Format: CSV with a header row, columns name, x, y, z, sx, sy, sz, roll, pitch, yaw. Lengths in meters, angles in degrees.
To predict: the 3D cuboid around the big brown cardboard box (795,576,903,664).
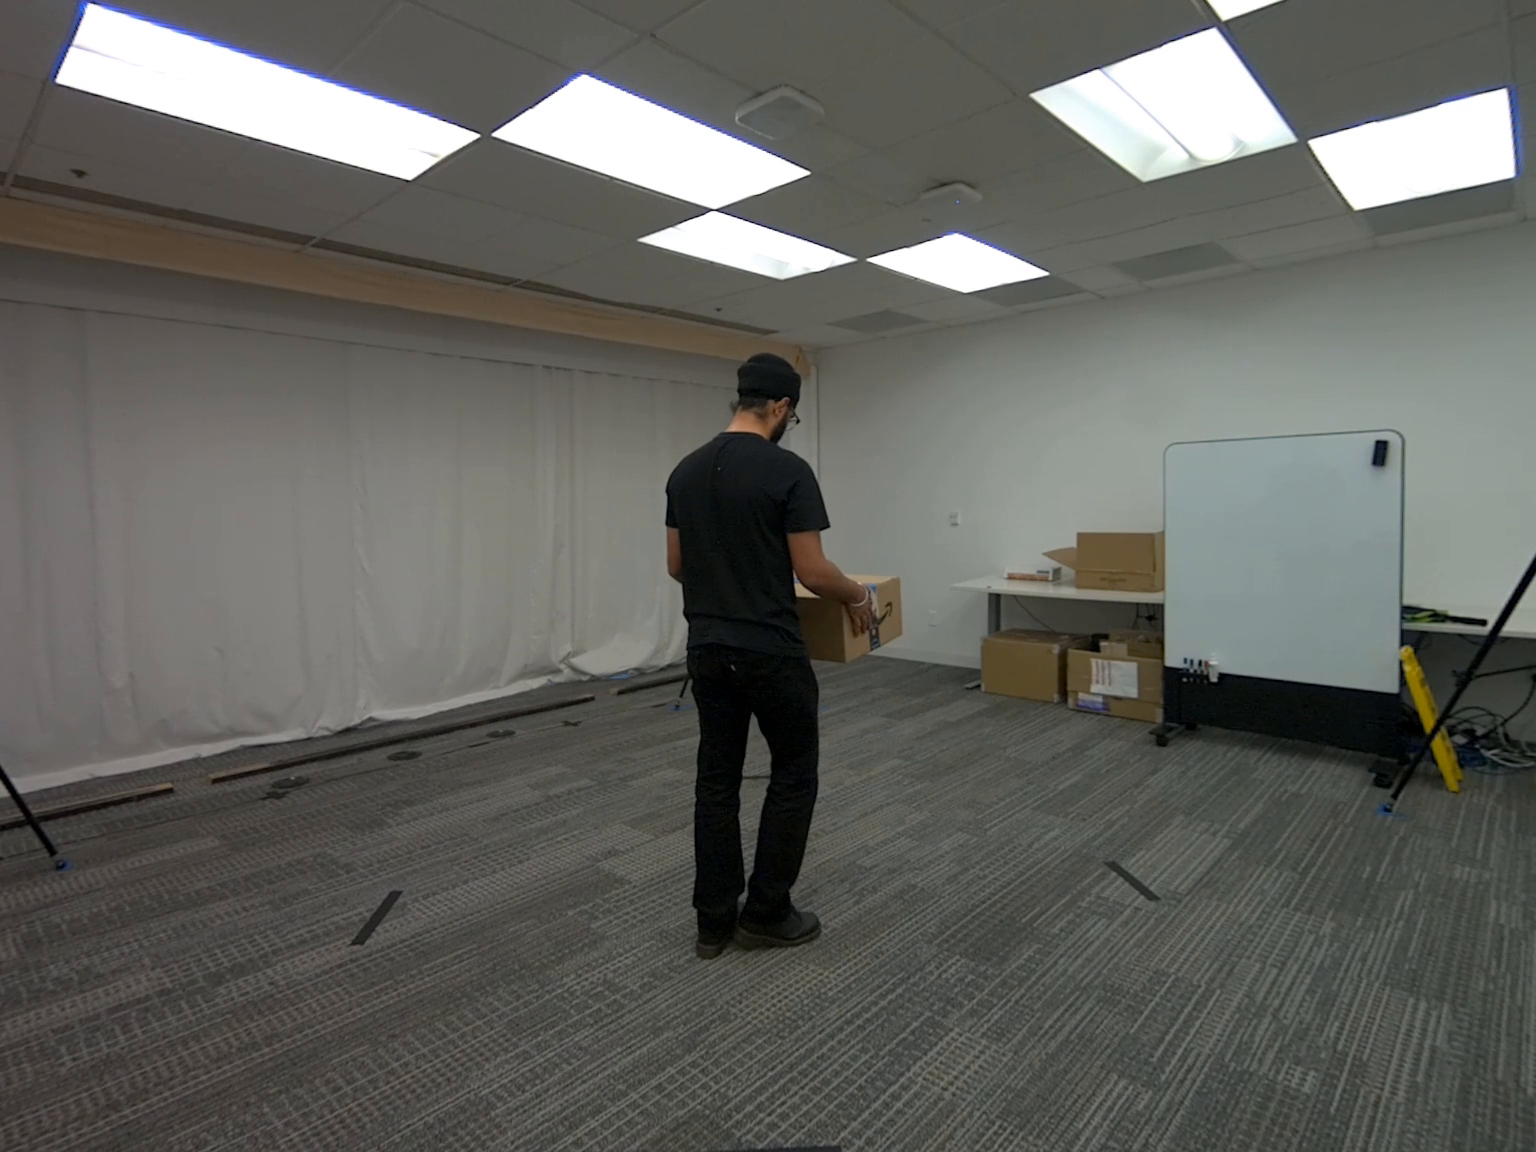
name,x,y,z,sx,sy,sz,roll,pitch,yaw
big brown cardboard box,0.129,0.125,3.024,0.608,0.232,0.407,4,12,36
